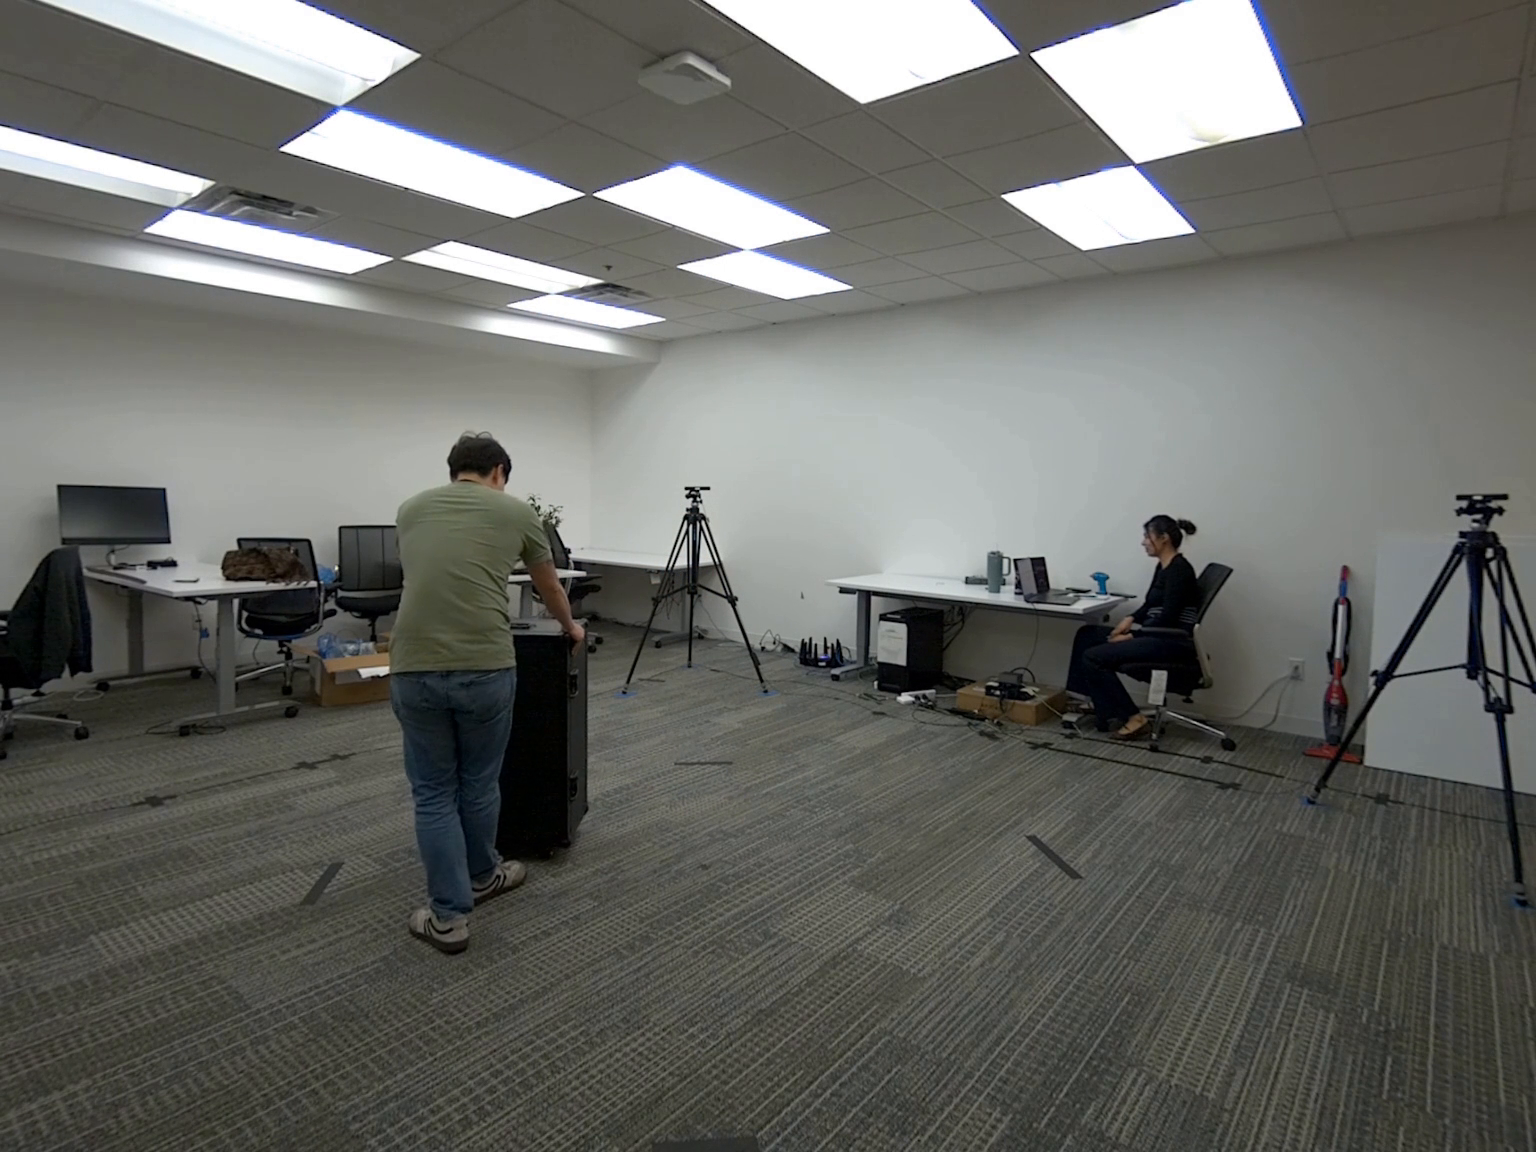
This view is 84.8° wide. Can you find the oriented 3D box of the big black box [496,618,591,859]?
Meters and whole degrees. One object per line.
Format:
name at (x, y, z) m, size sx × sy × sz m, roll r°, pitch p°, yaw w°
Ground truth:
big black box at (-0.981, 0.615, 3.283) m, size 0.523 × 0.860 × 0.396 m, roll 0°, pitch 2°, yaw 2°
